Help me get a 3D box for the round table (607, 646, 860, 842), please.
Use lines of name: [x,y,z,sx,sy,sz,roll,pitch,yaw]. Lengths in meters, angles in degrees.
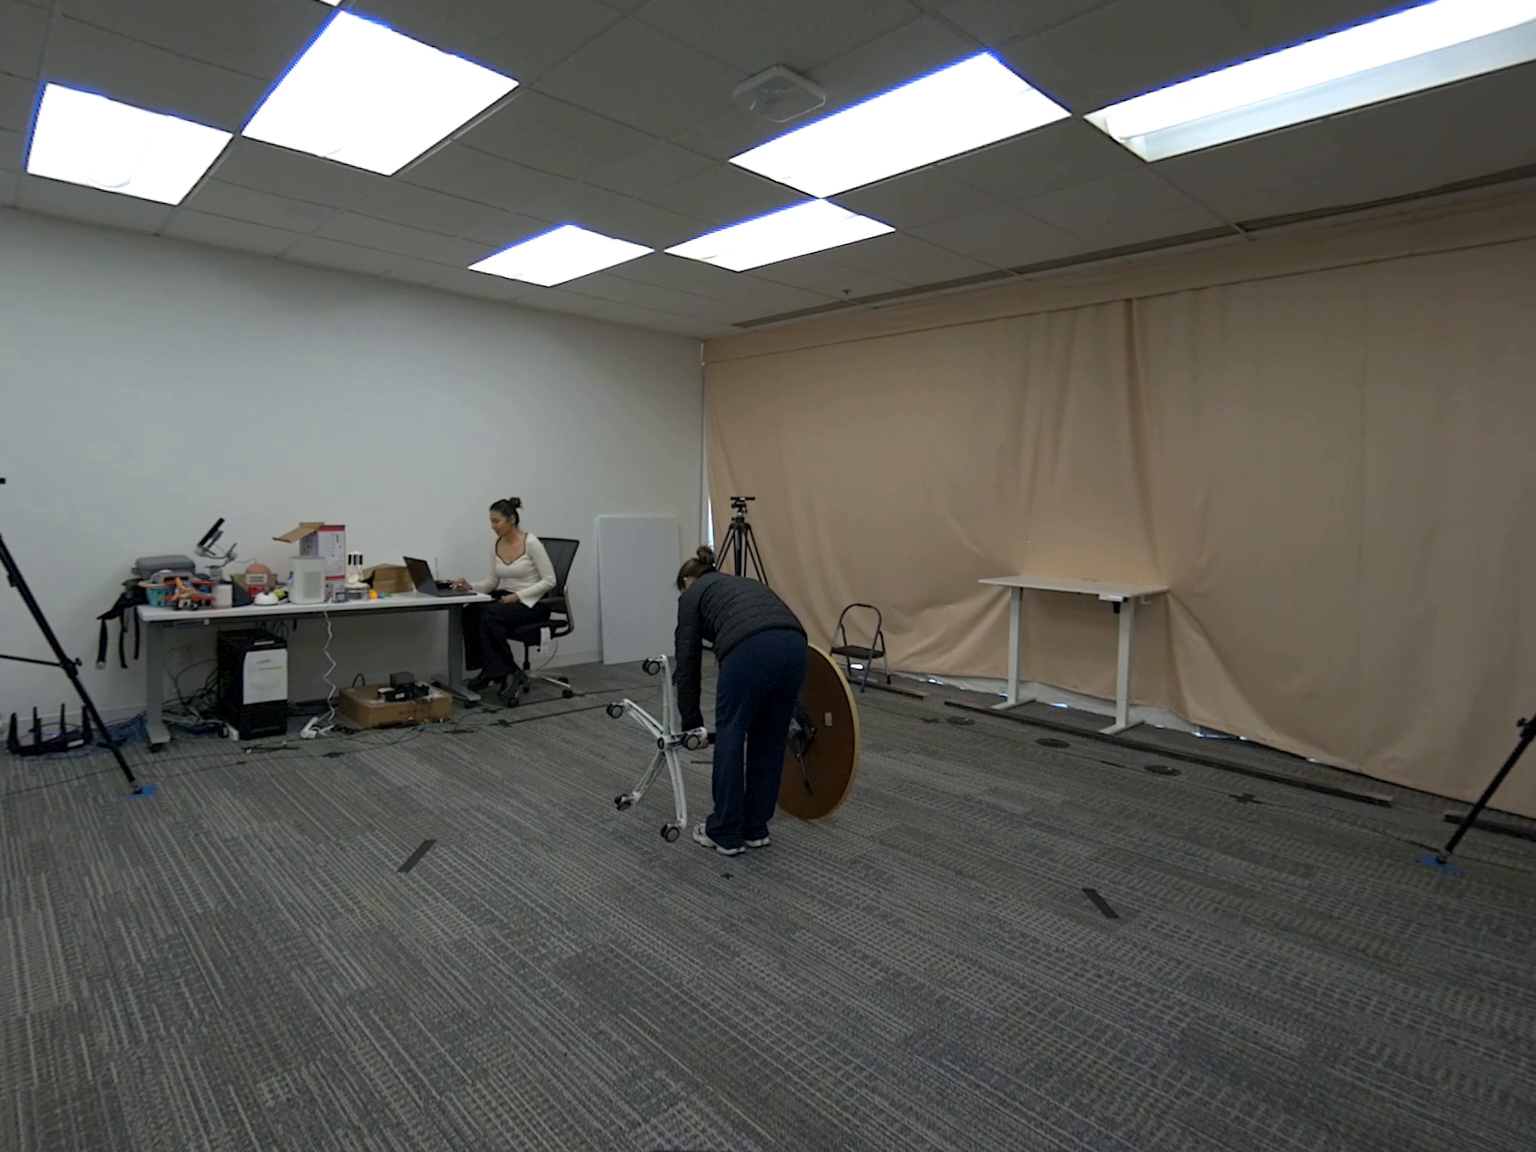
round table: [-0.170,0.682,3.492,0.769,0.783,0.804,0,4,-36]
